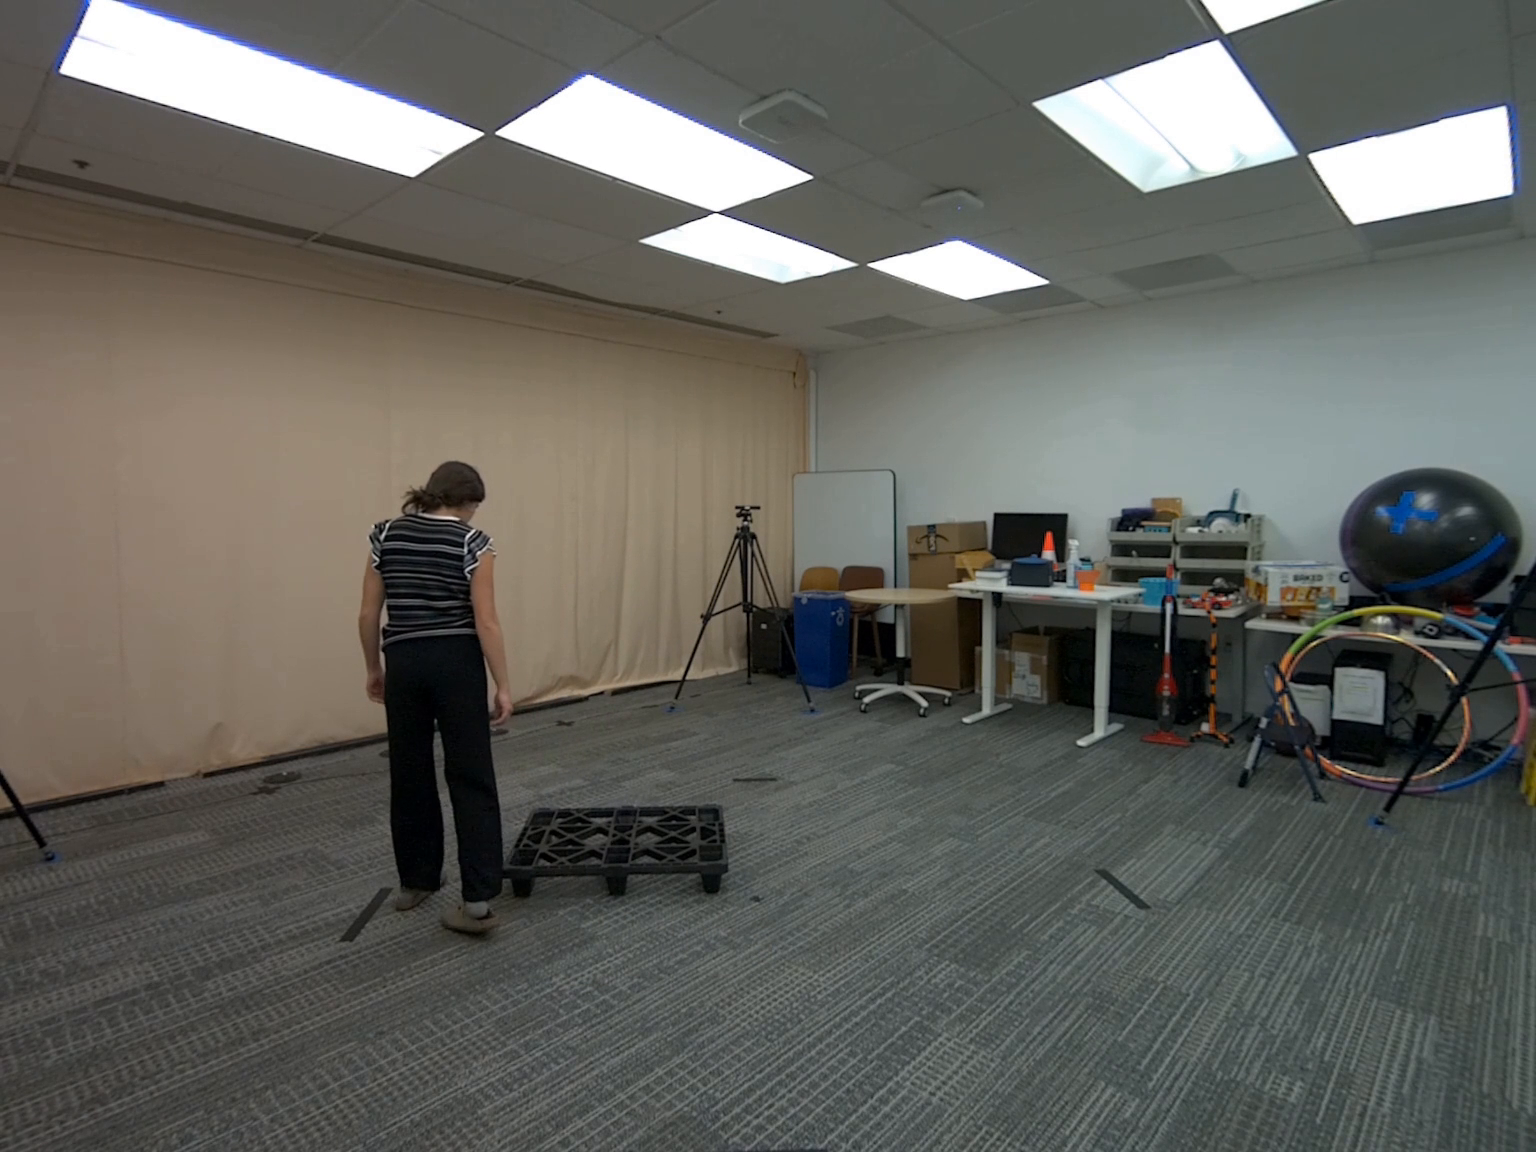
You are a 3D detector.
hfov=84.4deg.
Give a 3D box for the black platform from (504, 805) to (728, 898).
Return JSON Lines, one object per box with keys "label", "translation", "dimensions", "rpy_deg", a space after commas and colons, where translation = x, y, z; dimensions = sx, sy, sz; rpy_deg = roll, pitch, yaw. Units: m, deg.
{"label": "black platform", "translation": [-0.563, 1.059, 3.248], "dimensions": [0.803, 0.143, 0.608], "rpy_deg": [-1, 3, -3]}
